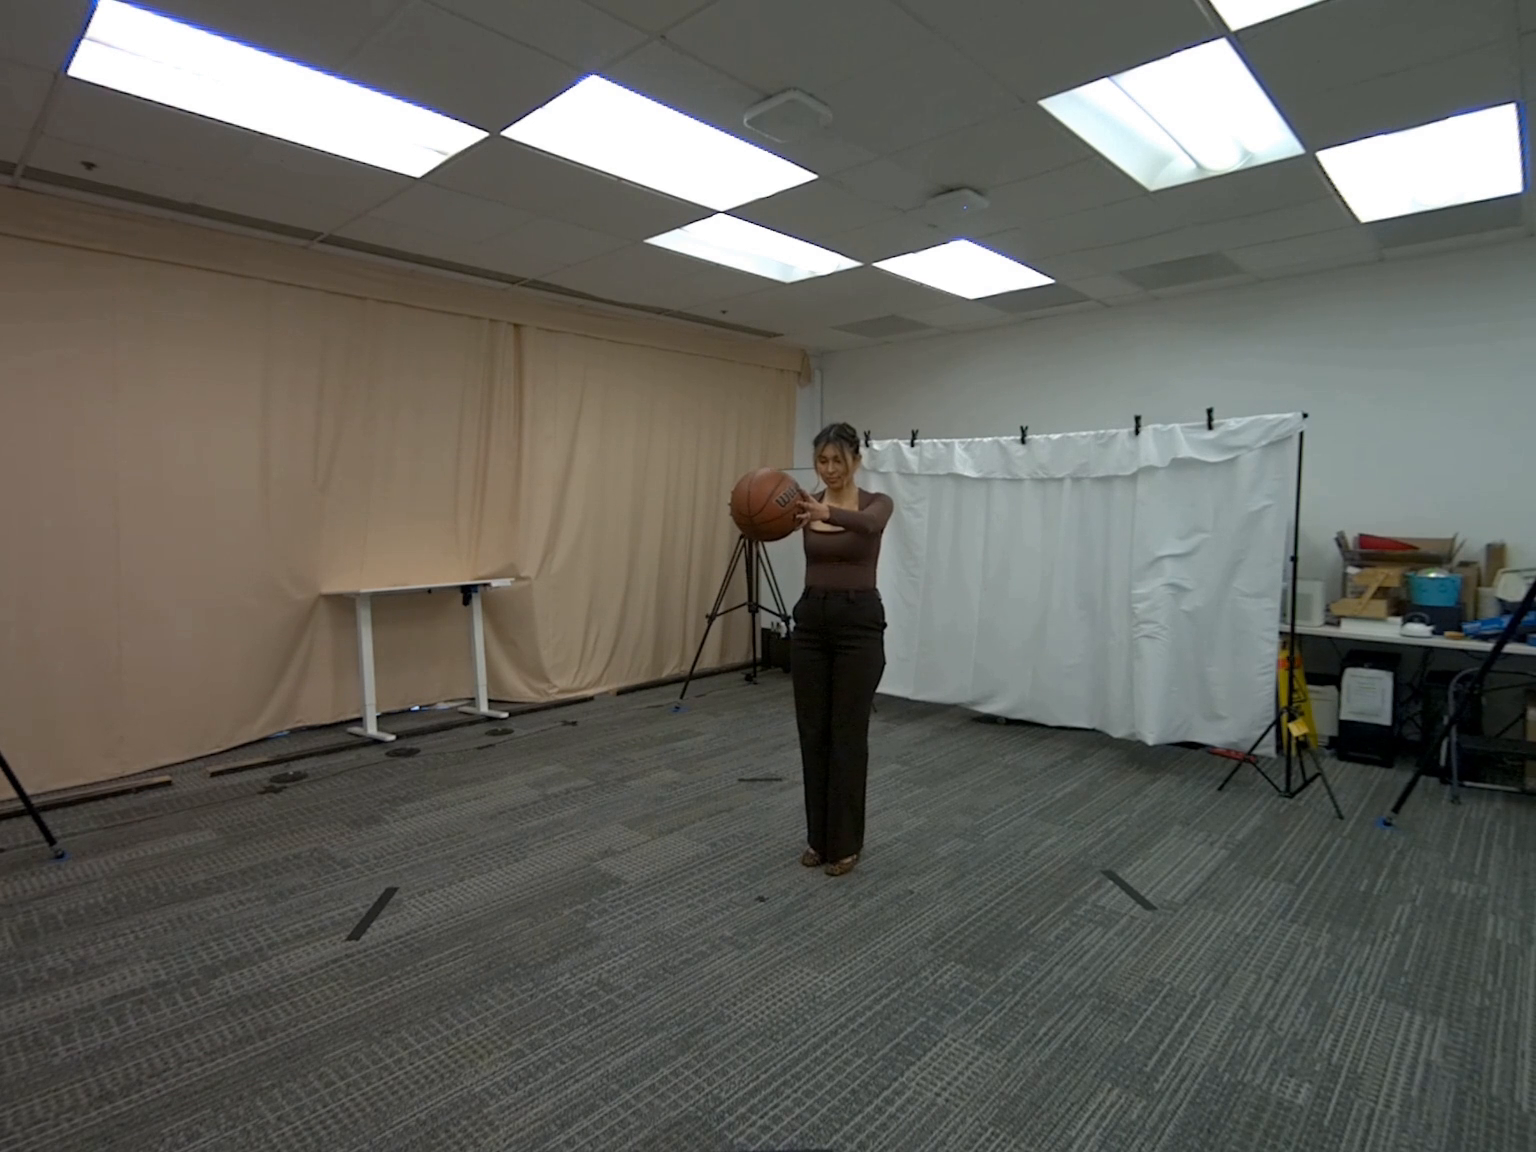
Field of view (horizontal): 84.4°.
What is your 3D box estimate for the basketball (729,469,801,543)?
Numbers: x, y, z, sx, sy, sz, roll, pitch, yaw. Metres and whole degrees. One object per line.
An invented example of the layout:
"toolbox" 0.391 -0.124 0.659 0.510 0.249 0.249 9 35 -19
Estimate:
"basketball" 0.000 -0.223 2.707 0.236 0.235 0.237 0 4 -2
